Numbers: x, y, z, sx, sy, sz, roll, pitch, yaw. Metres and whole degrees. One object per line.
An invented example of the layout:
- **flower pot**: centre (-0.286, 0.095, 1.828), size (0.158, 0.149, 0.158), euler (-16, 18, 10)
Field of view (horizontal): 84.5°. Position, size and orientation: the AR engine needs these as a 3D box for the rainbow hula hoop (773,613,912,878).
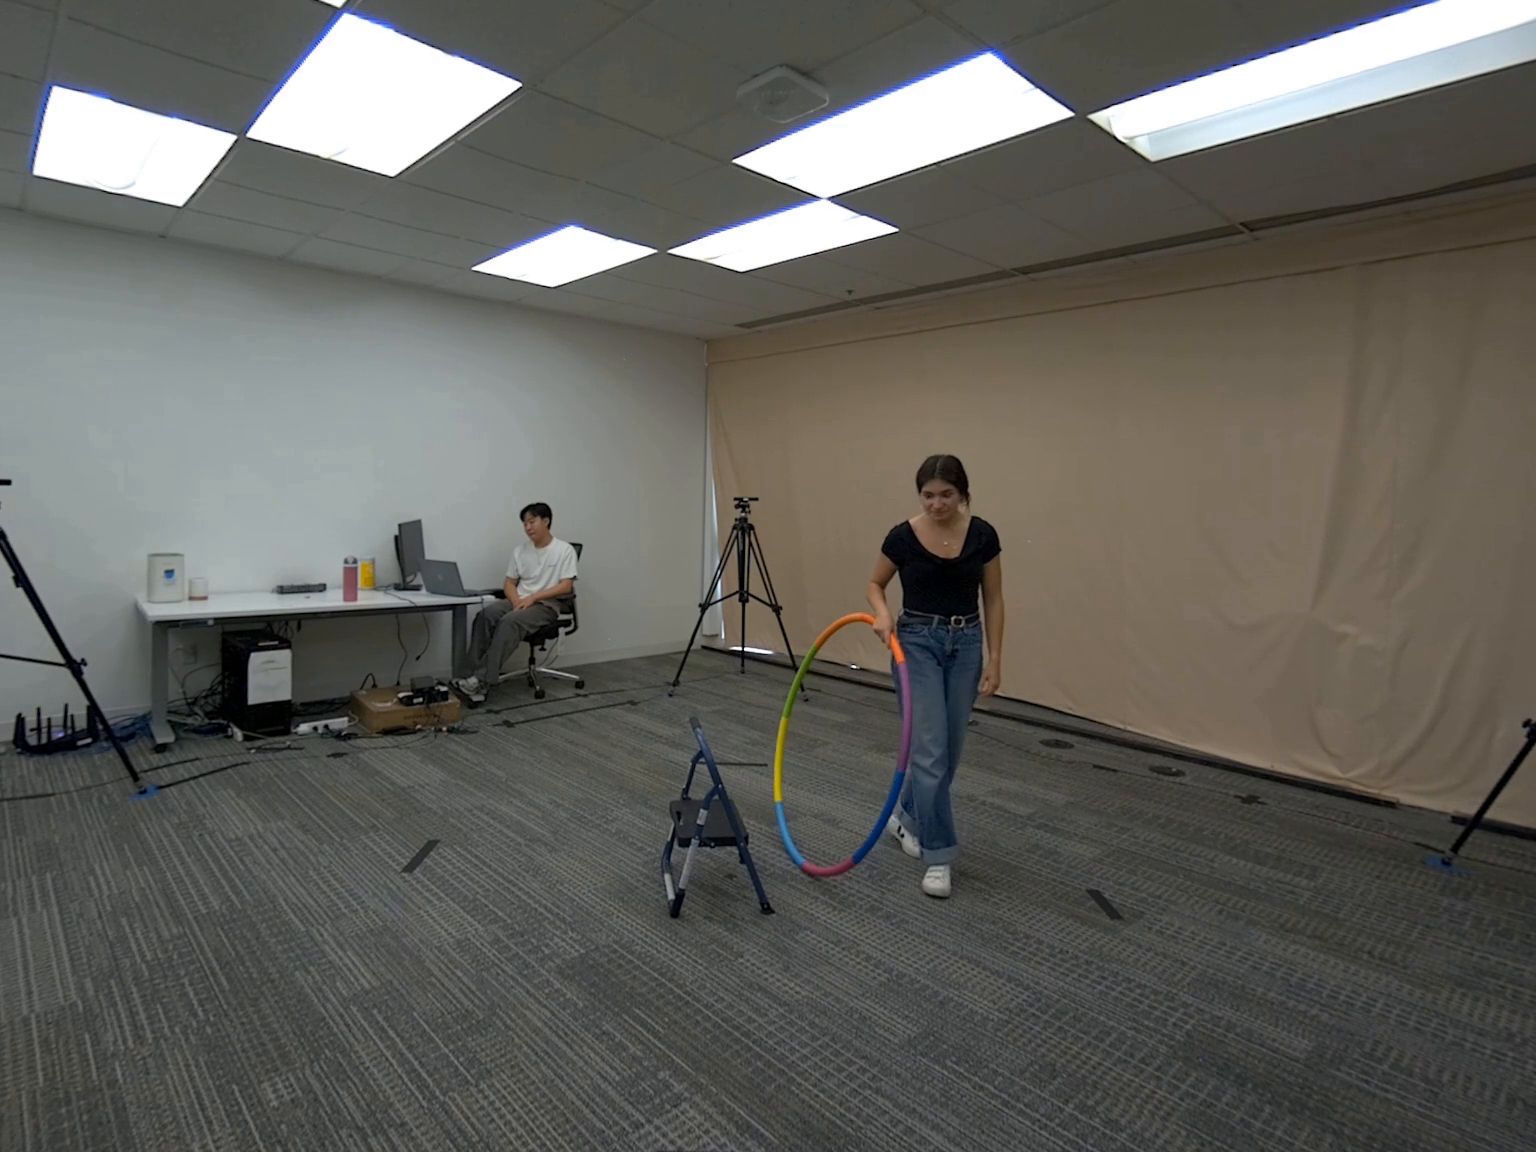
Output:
- **rainbow hula hoop**: centre (0.246, 0.630, 3.217), size (0.035, 0.979, 0.996), euler (16, -1, -22)
